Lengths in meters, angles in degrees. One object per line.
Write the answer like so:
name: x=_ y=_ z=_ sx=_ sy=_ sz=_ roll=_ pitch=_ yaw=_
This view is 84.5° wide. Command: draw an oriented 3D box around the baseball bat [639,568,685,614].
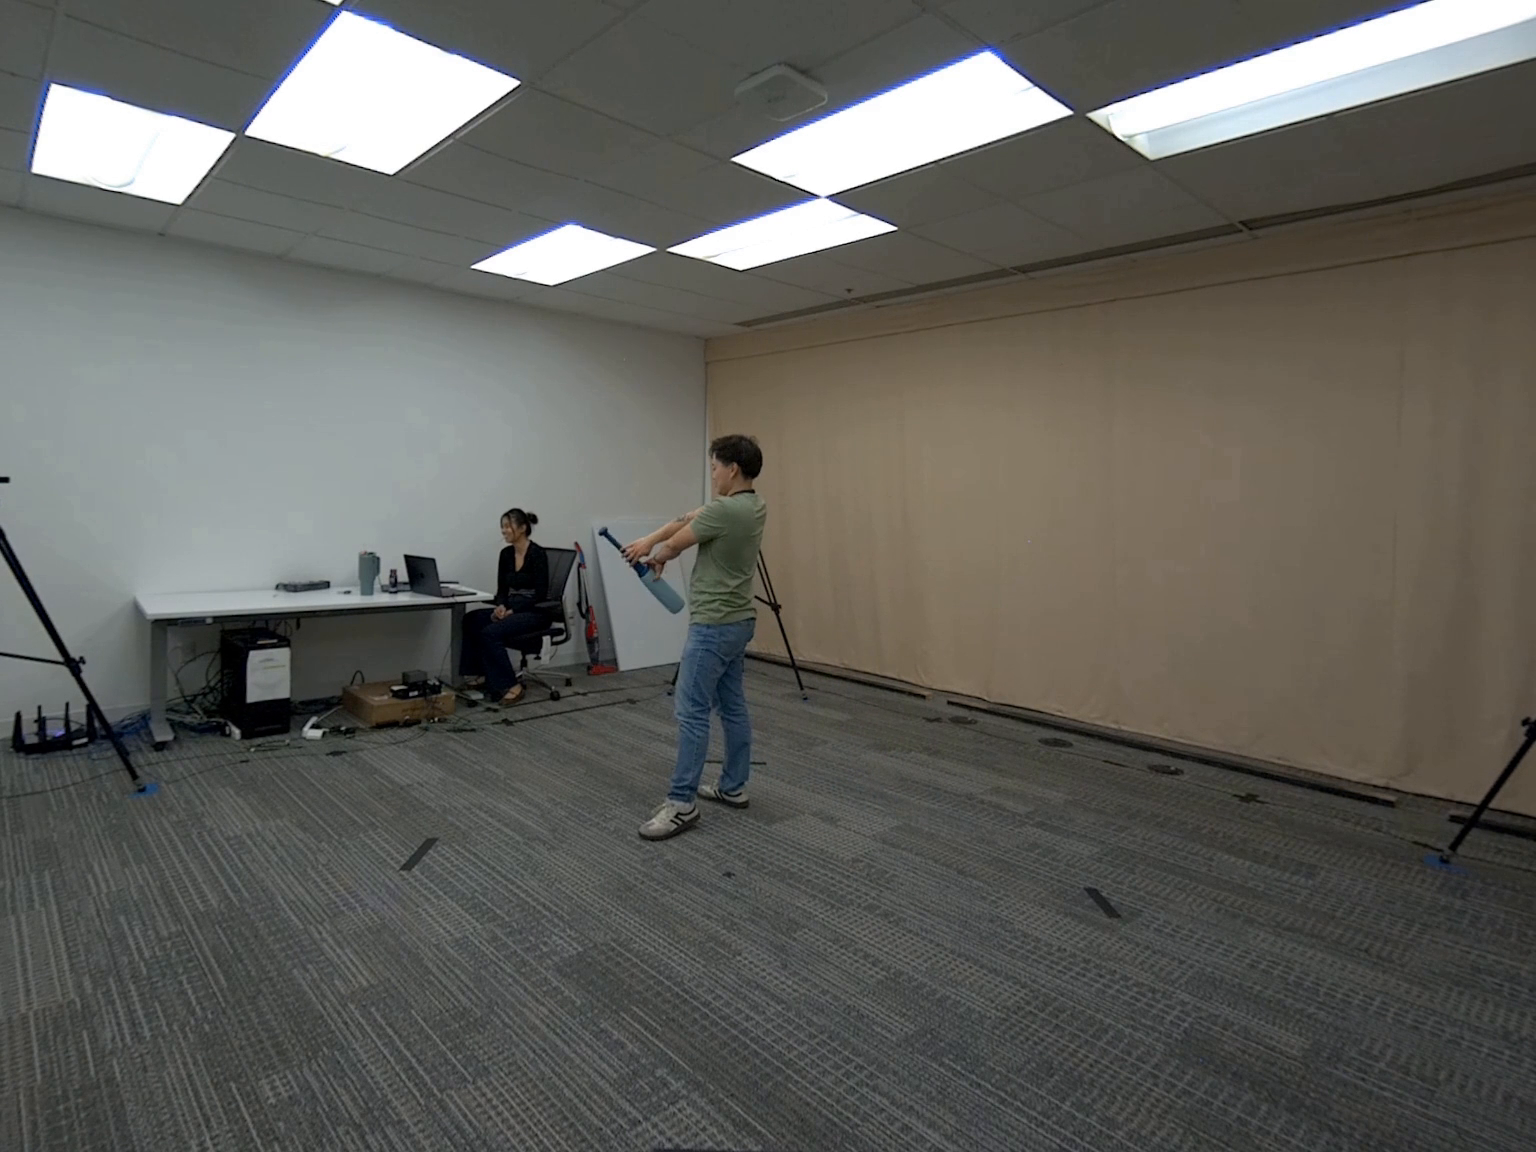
baseball bat: x=-0.599 y=-0.032 z=3.944 sx=0.532 sy=0.089 sz=0.091 roll=48 pitch=-16 yaw=-20
